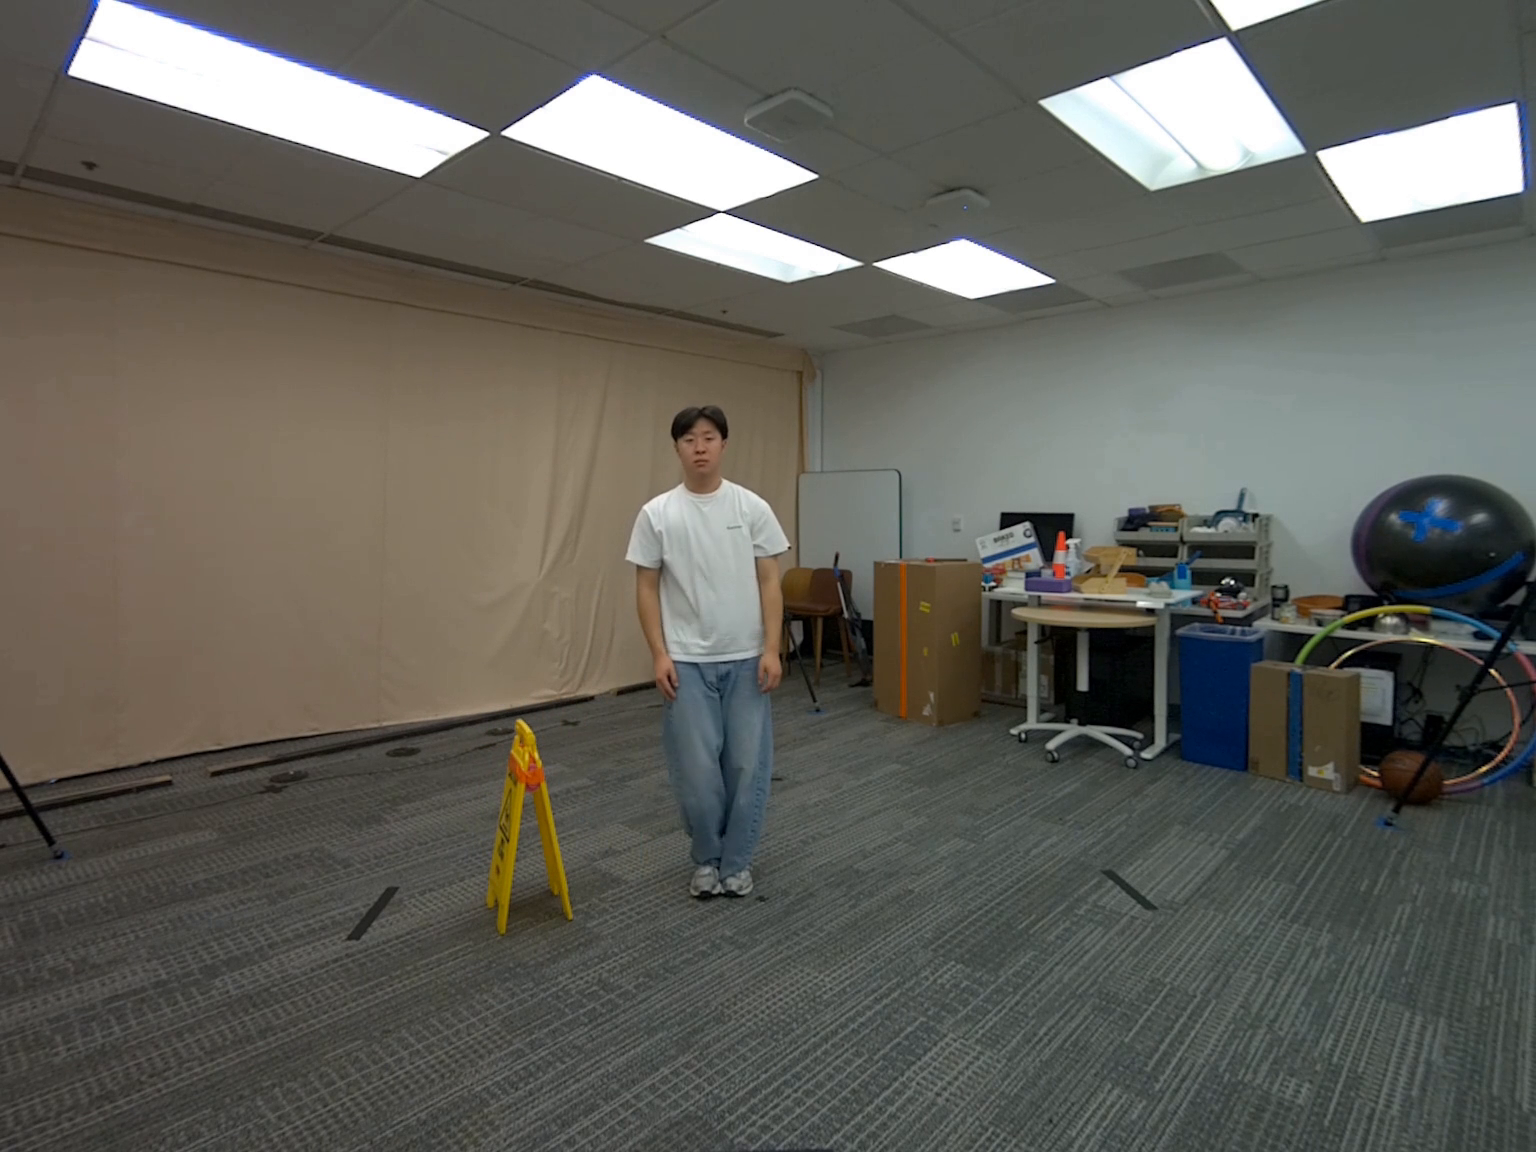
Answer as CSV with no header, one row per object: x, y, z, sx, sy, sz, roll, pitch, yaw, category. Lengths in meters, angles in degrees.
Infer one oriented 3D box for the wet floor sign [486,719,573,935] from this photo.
-0.829,0.831,2.890,0.283,0.645,0.289,-2,3,-25,wet floor sign
